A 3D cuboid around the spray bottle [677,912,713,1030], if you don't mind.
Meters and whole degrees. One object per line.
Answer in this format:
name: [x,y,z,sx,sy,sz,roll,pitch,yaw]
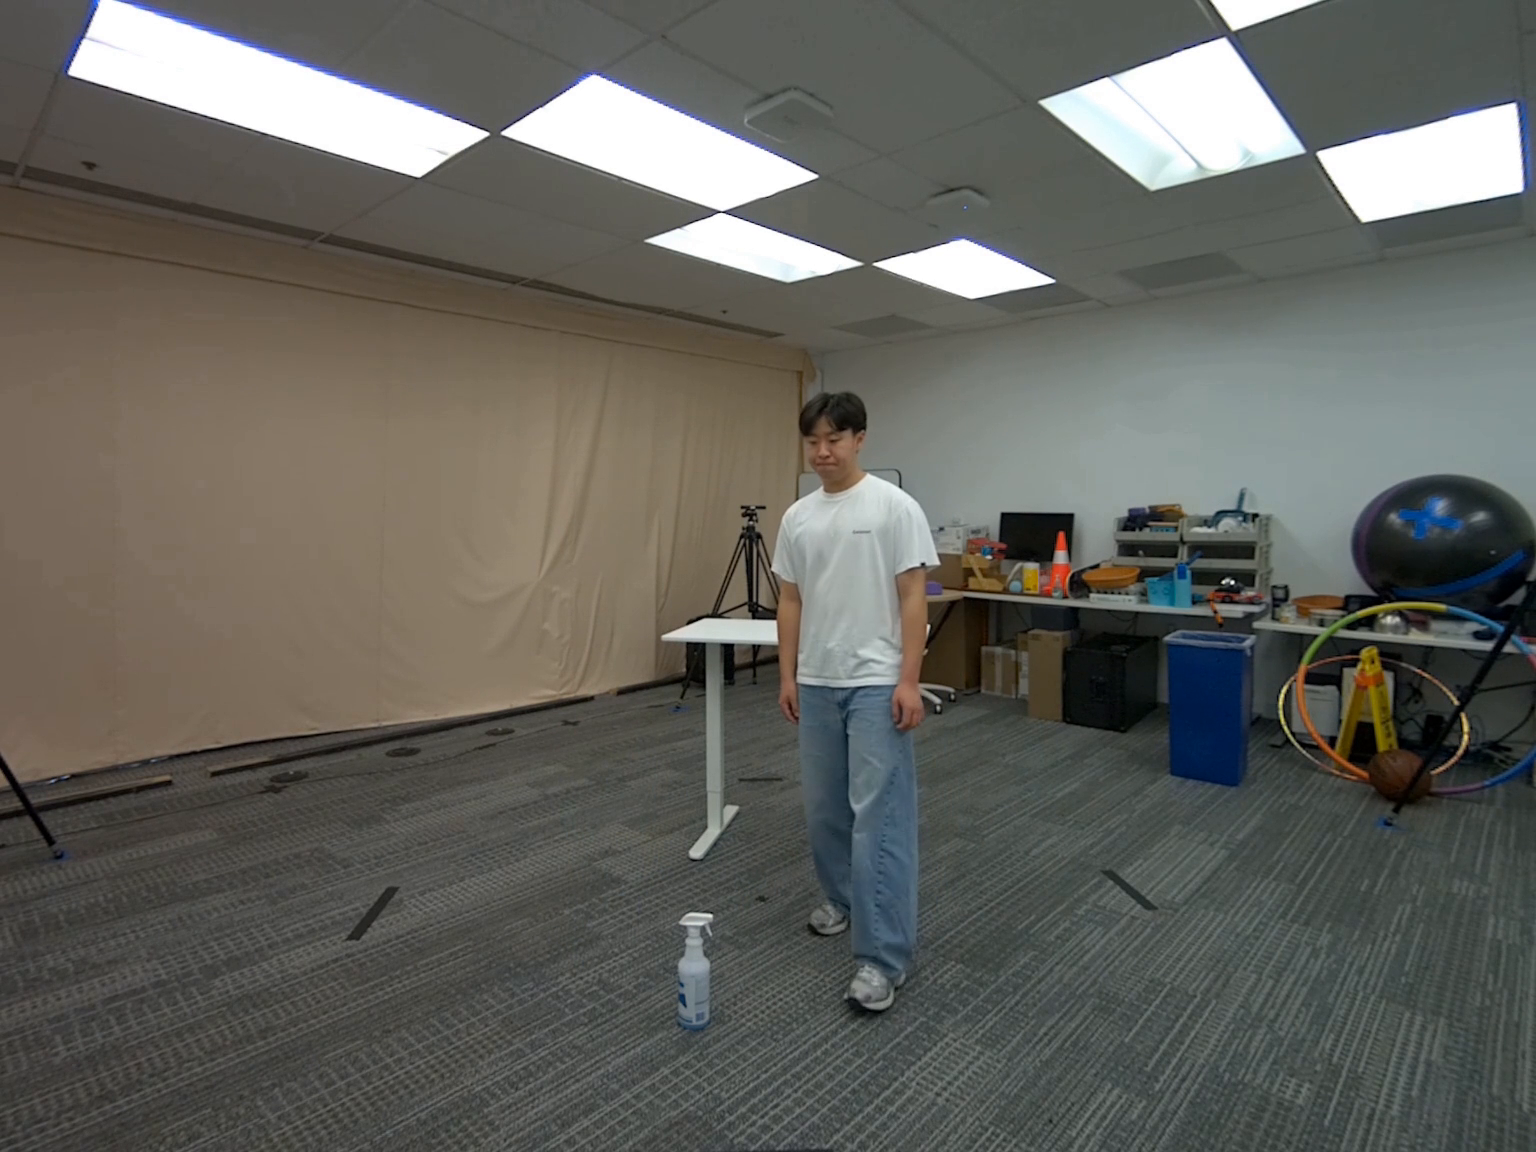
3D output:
spray bottle: [-0.191,1.057,2.282,0.093,0.297,0.084,1,0,32]
